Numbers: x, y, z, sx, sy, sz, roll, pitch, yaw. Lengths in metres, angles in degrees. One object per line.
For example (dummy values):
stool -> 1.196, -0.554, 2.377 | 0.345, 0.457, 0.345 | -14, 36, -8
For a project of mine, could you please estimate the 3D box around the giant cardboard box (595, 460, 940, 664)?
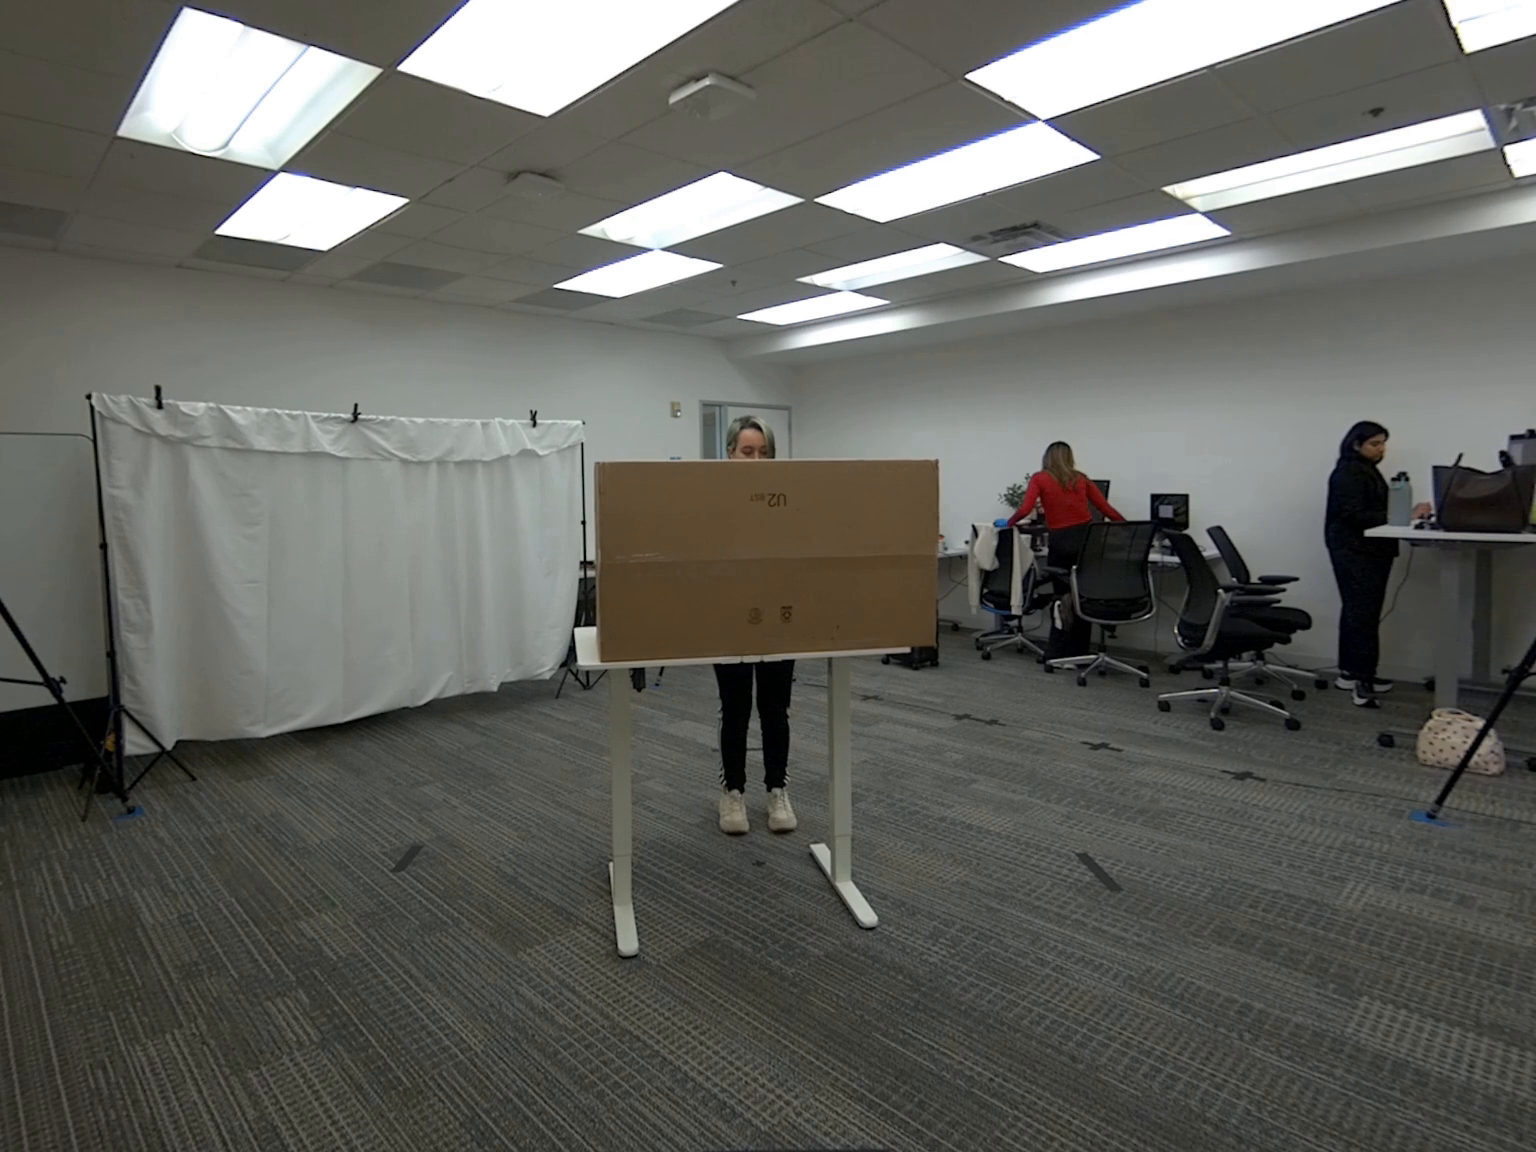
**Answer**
giant cardboard box -> -0.027, -0.076, 2.711 | 1.017, 0.581, 0.453 | -1, 5, -11
